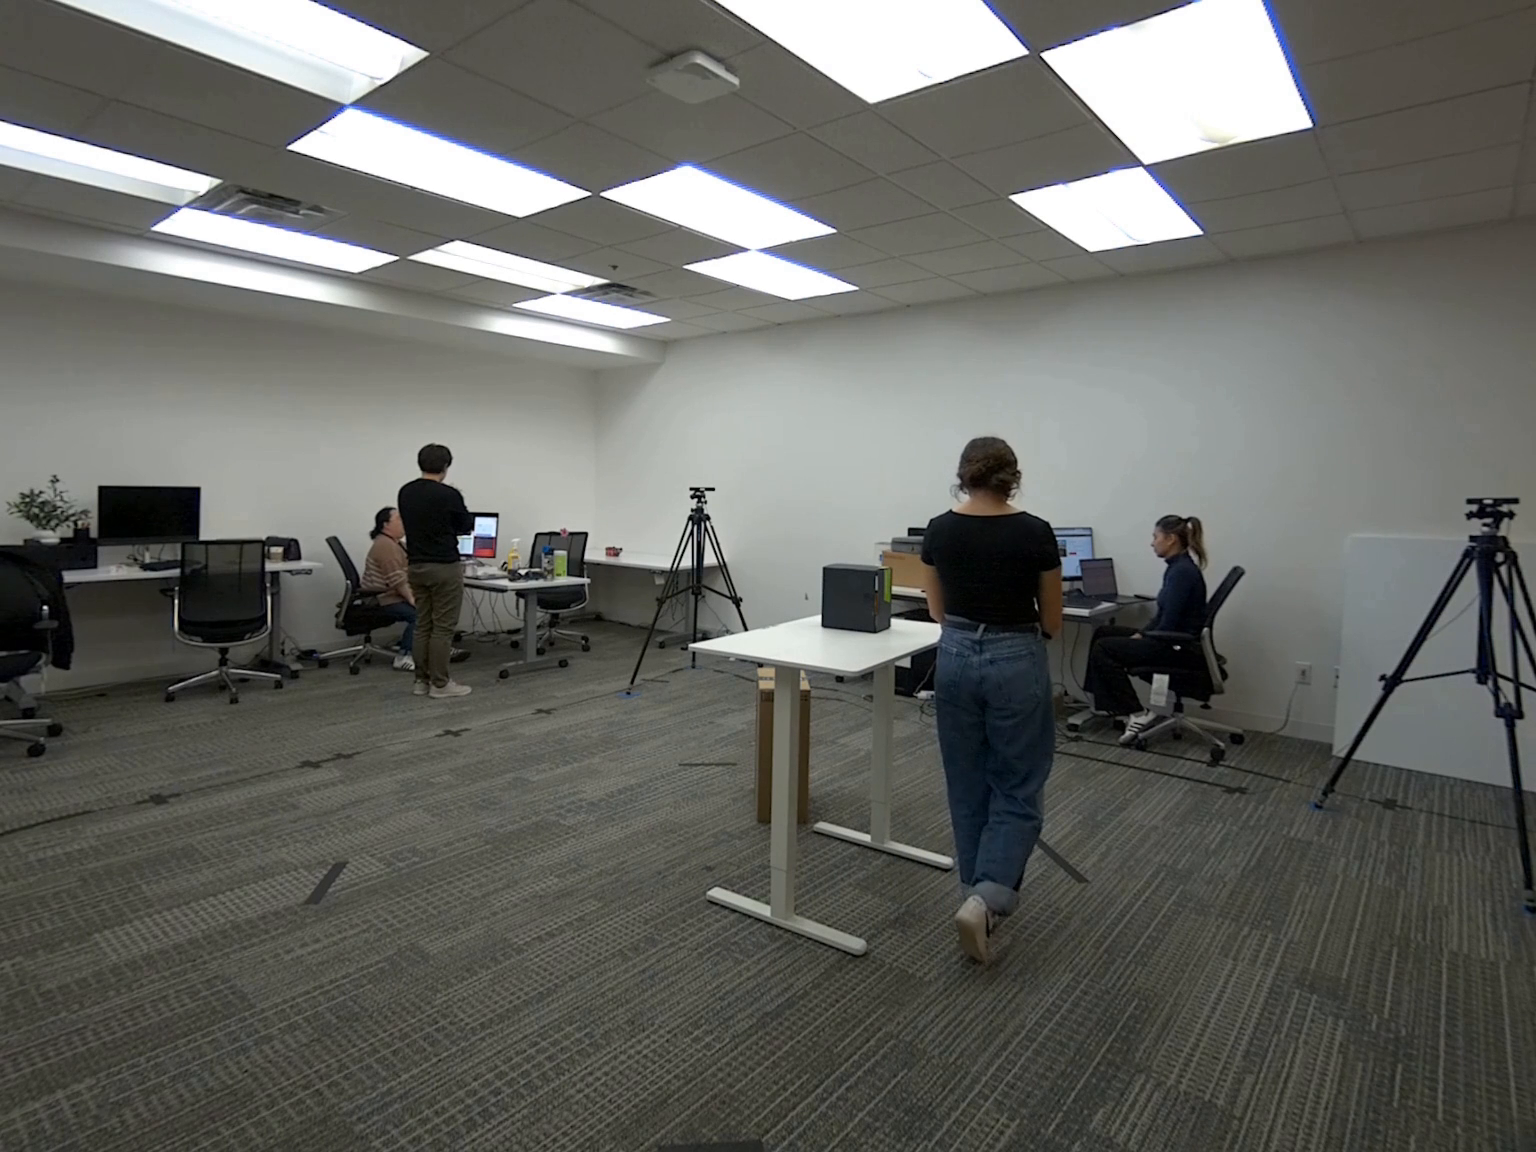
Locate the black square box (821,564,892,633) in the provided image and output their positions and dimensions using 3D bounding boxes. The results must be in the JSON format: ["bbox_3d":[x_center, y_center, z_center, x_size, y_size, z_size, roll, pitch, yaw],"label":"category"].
[{"bbox_3d":[0.330,0.076,3.144,0.223,0.227,0.152,4,5,31],"label":"black square box"}]
